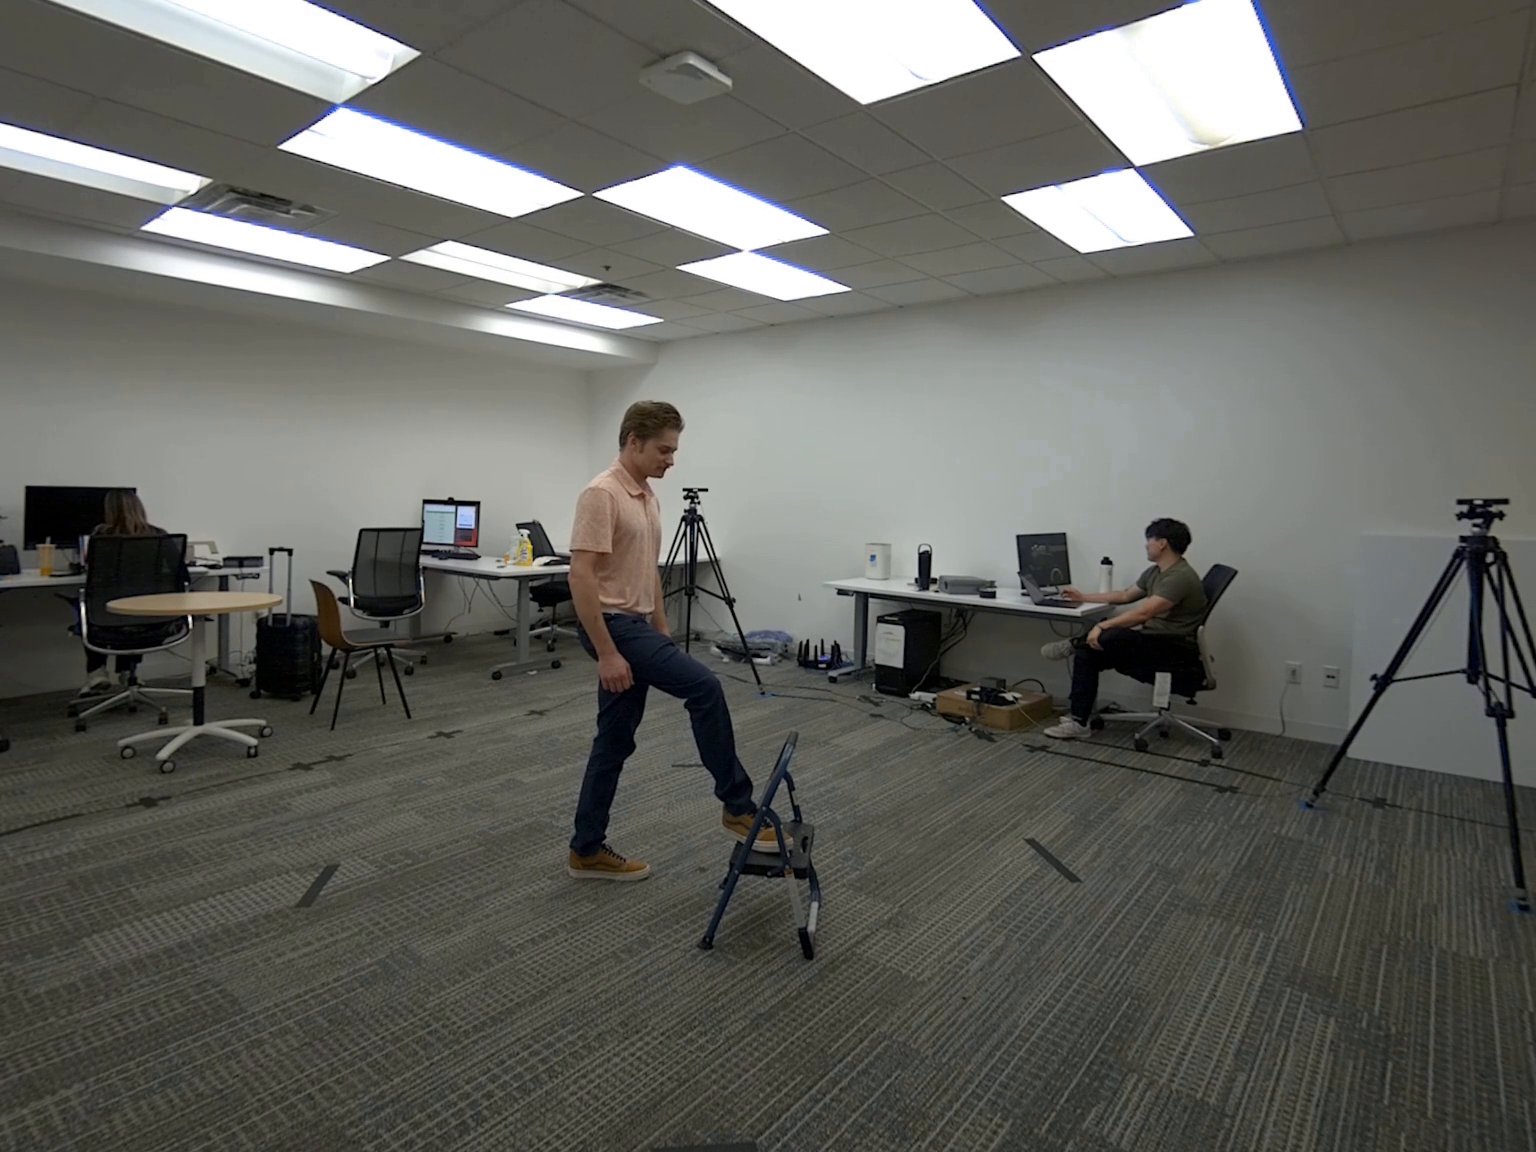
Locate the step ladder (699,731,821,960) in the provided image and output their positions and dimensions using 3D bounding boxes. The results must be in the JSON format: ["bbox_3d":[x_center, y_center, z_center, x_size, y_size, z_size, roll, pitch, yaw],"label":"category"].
[{"bbox_3d":[-0.010,0.810,2.730,0.353,0.604,0.428,2,3,8],"label":"step ladder"}]
